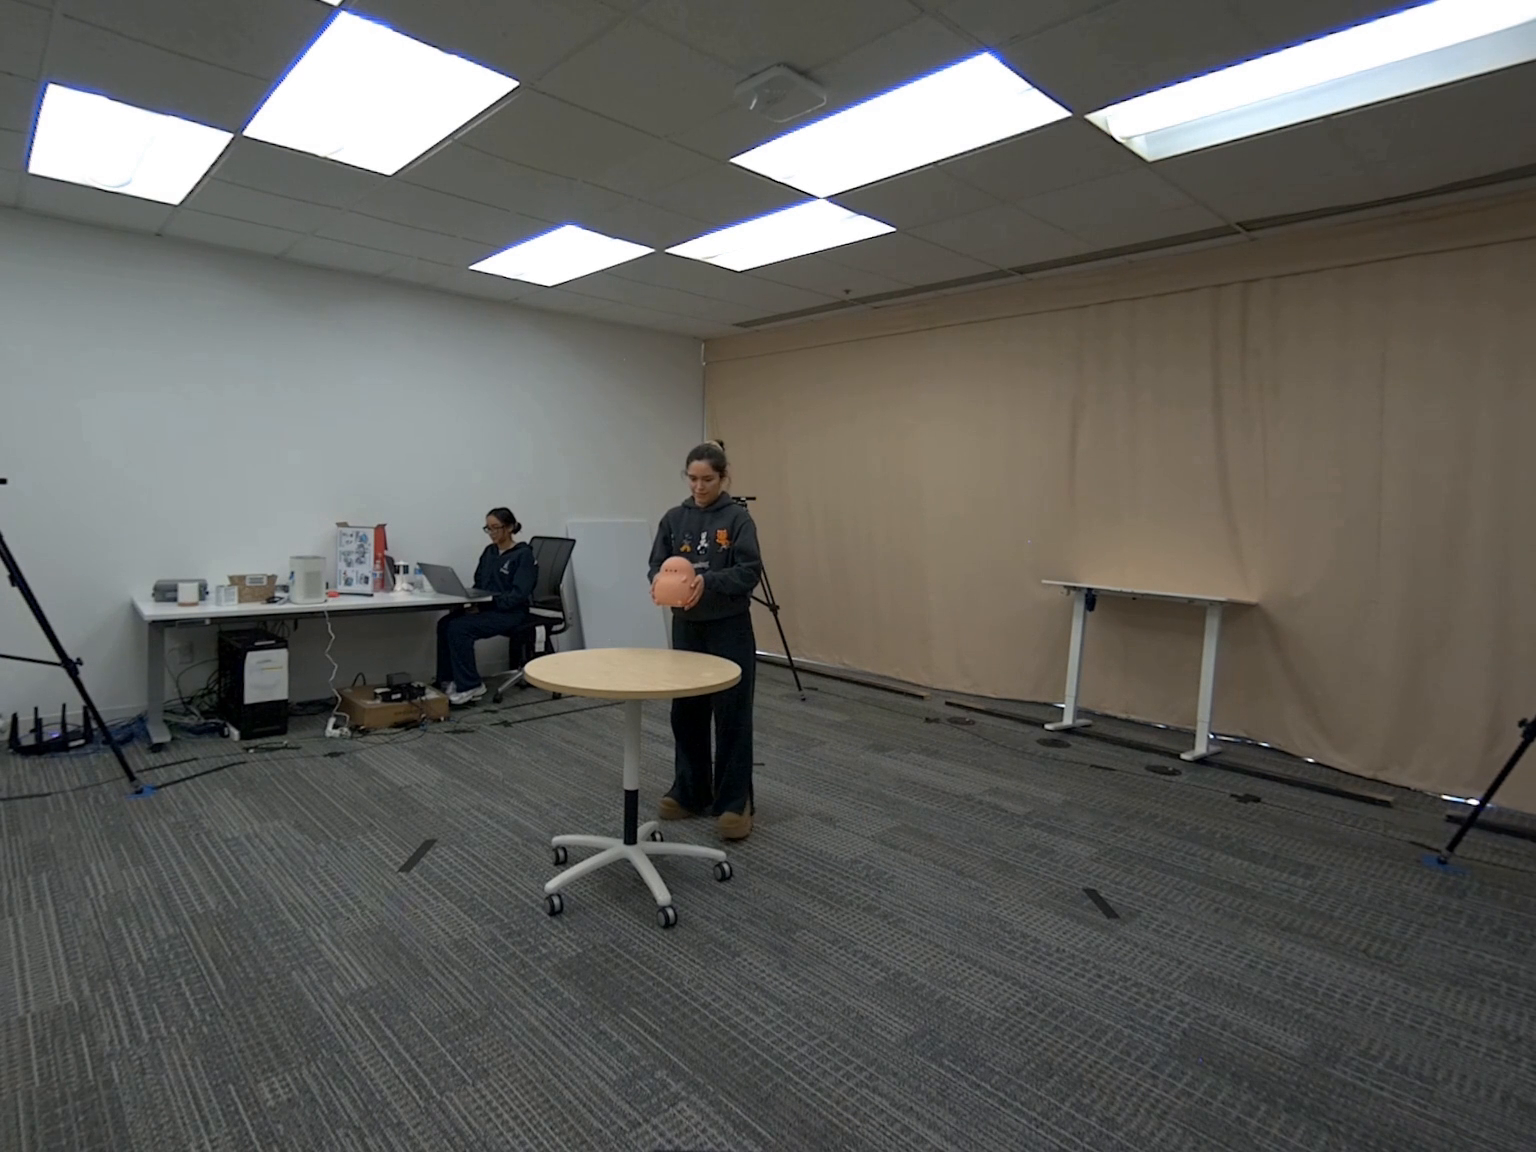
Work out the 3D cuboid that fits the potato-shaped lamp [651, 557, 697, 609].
[{"bbox_3d":[-0.381,0.018,3.364,0.167,0.198,0.168,1,1,21],"label":"potato-shaped lamp"}]
